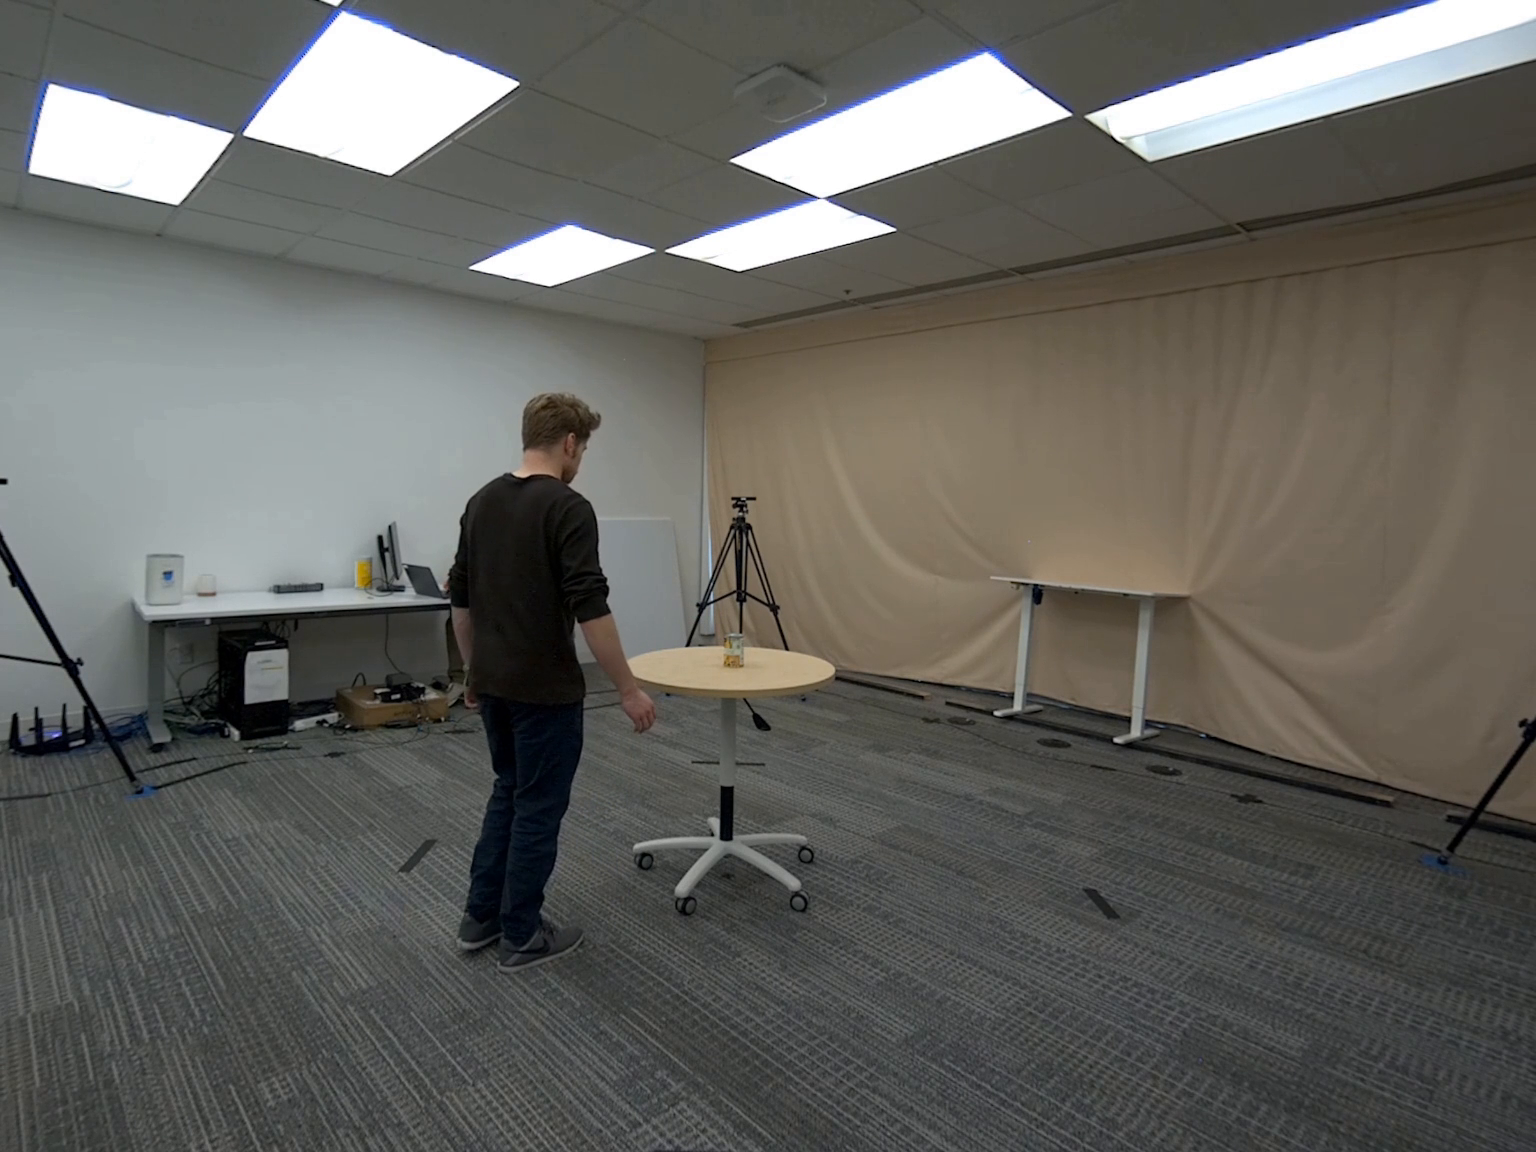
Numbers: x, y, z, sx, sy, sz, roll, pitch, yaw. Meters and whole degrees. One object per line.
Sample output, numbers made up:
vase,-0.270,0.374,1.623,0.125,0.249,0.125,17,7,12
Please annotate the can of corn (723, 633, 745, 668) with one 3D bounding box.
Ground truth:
can of corn,-0.128,0.271,3.053,0.074,0.110,0.074,0,6,-1
